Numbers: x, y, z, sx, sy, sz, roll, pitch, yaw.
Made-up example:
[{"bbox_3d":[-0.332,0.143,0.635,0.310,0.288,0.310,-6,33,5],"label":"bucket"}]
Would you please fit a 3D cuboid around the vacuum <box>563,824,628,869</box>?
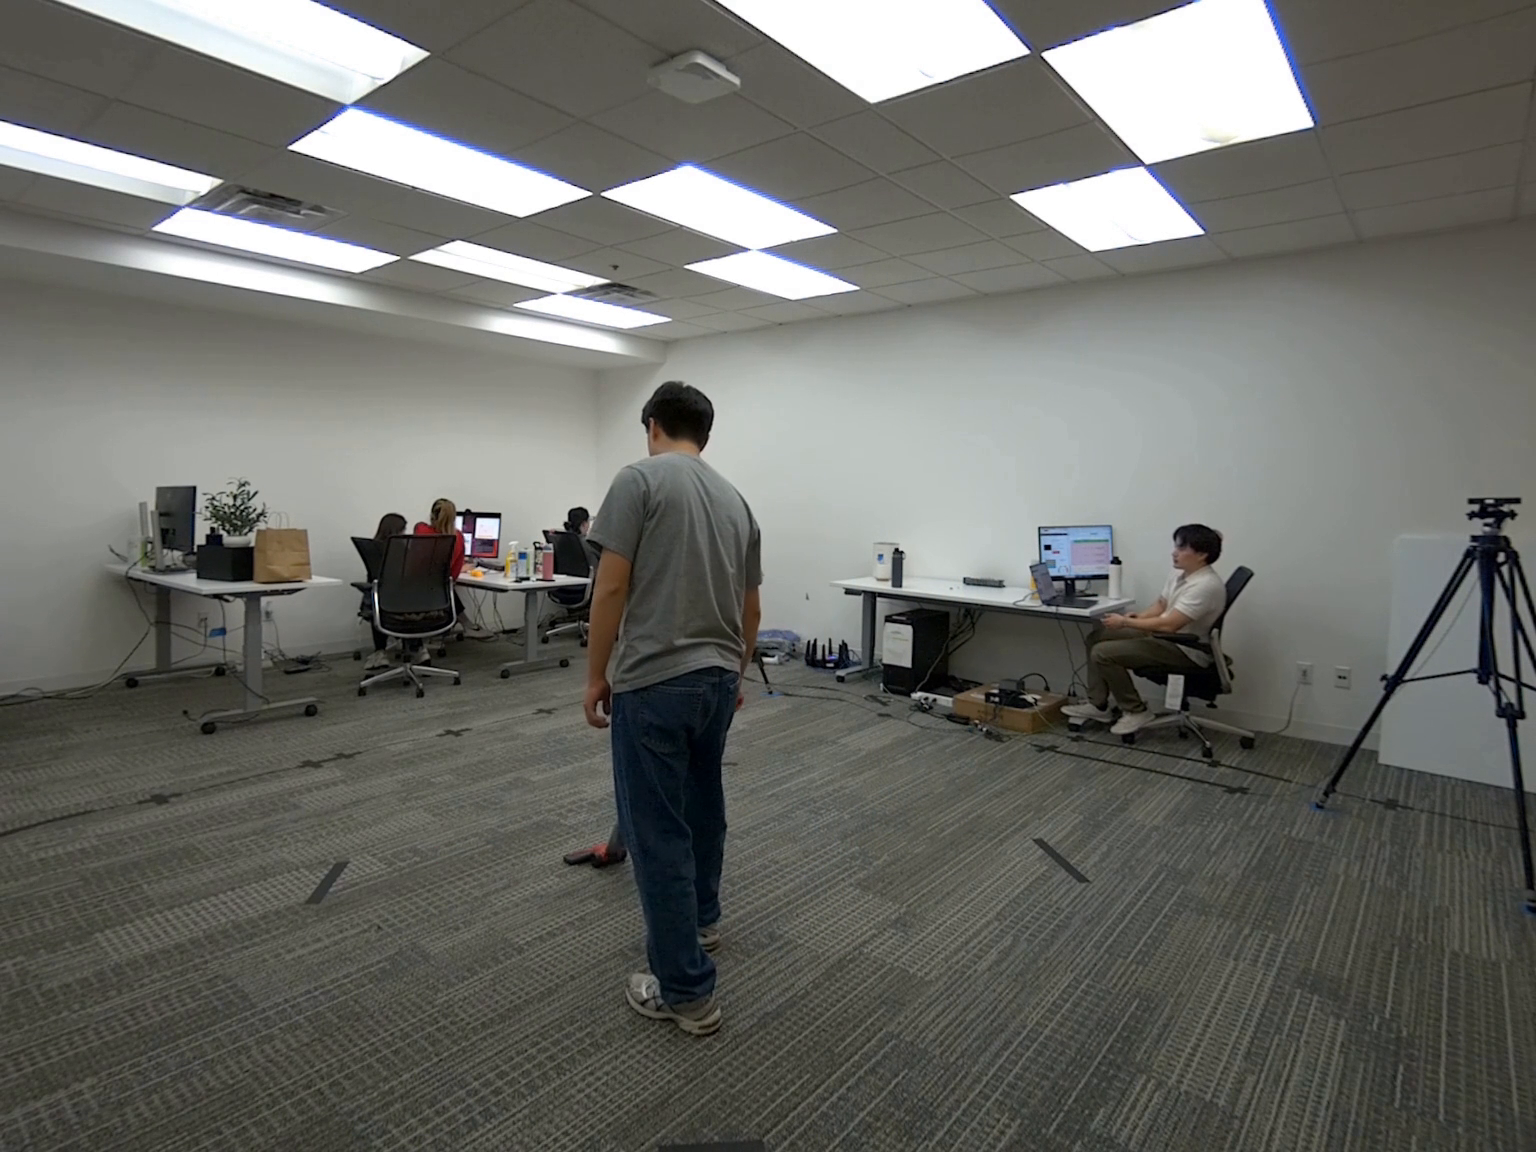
[{"bbox_3d":[-0.382,0.714,2.872,0.245,0.149,1.045,-6,-35,-42],"label":"vacuum"}]
